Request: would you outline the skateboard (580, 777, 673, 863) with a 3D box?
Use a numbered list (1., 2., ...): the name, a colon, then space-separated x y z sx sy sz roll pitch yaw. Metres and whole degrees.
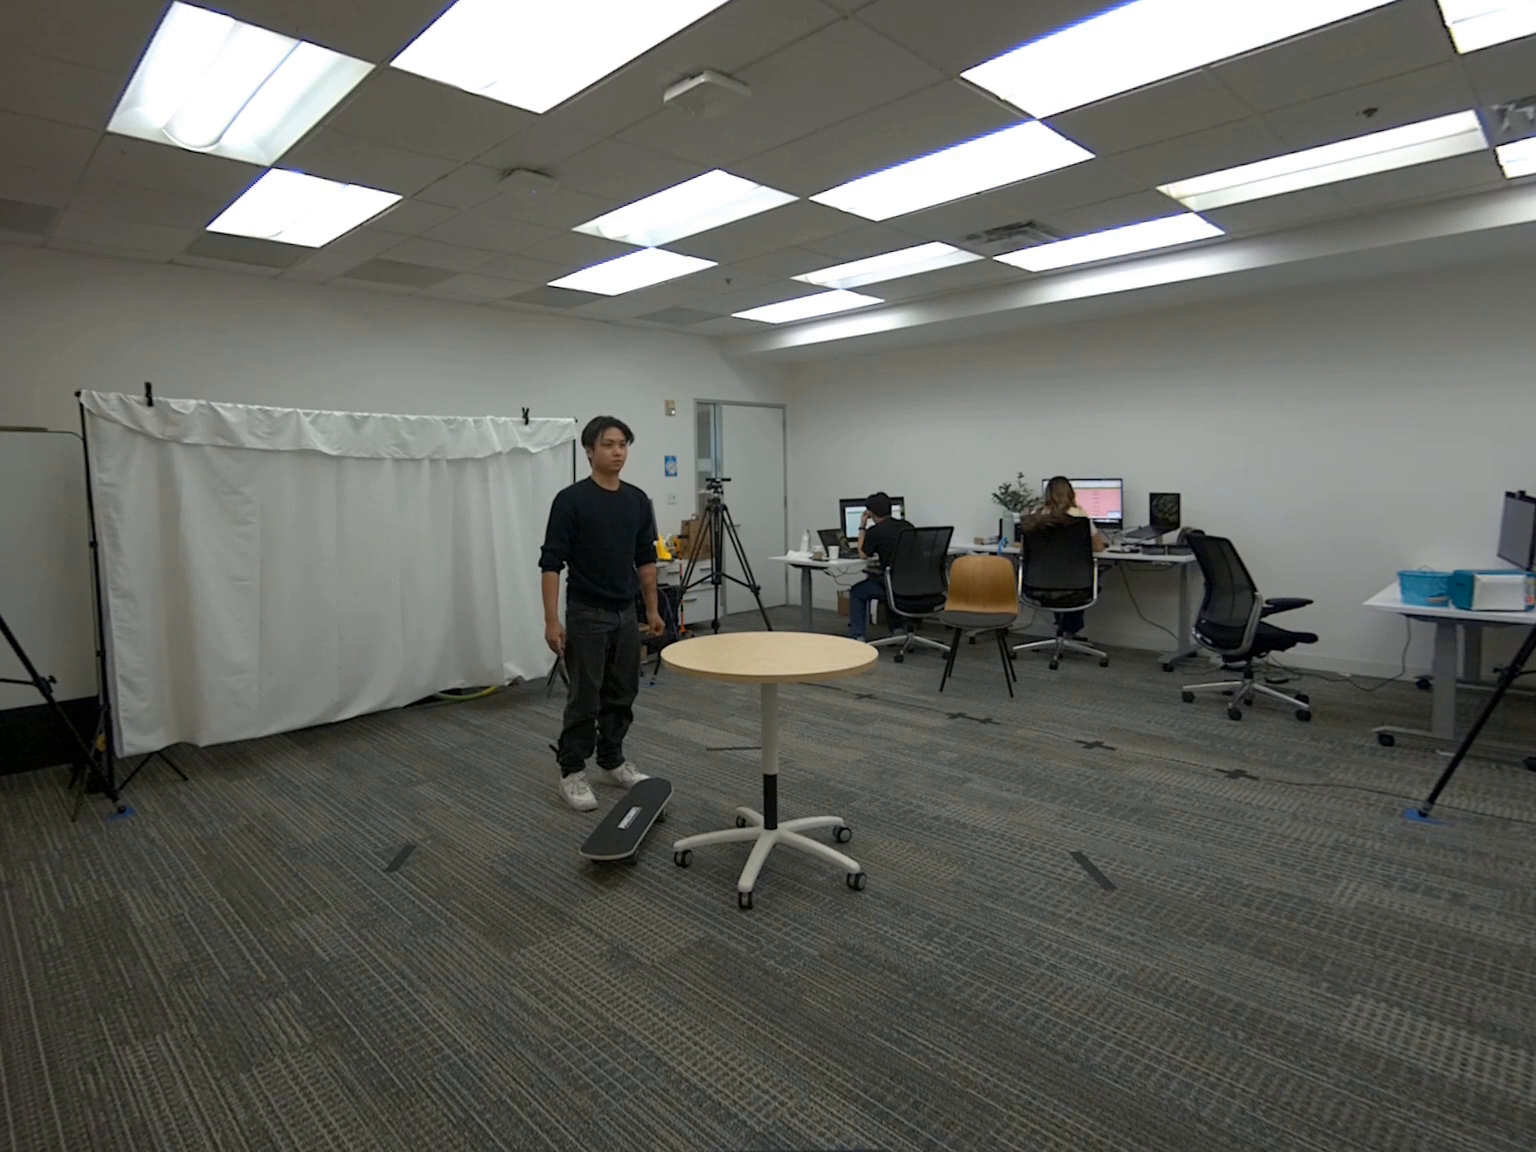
1. skateboard: -0.532 0.967 3.320 0.195 0.110 0.781 0 6 8
